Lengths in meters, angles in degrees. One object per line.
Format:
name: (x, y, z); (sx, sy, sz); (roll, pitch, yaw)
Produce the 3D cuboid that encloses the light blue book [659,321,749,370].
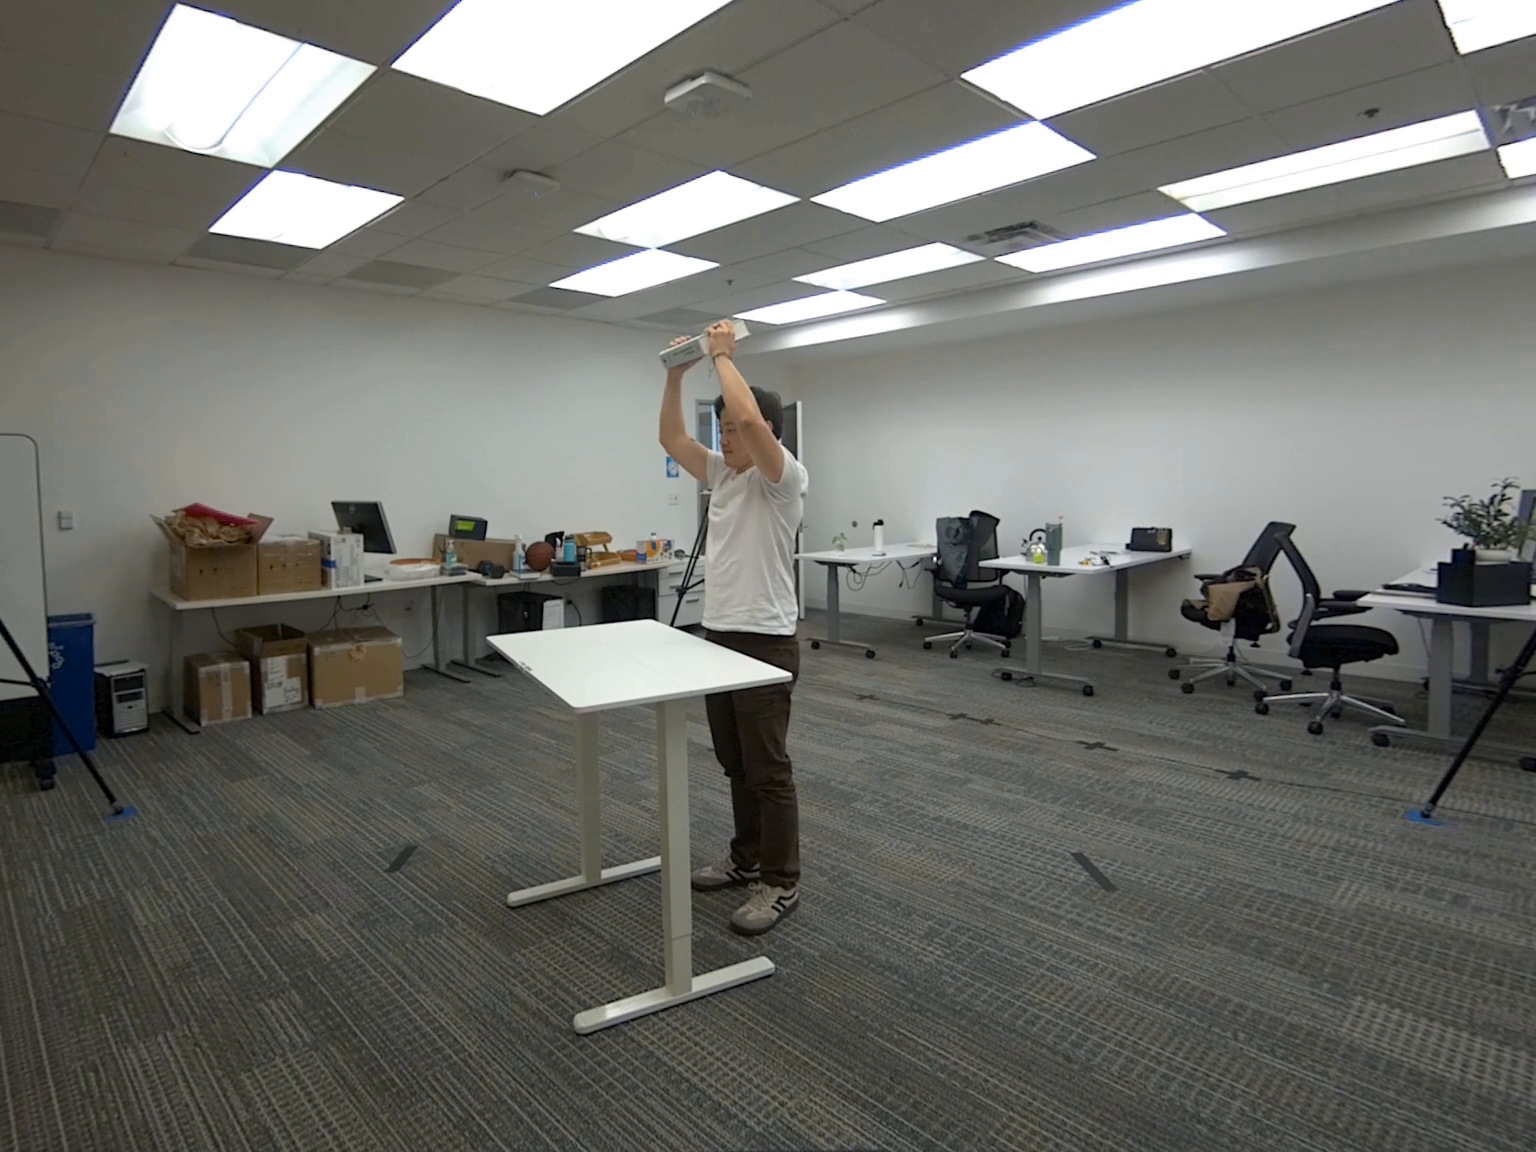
light blue book: (-0.202, -0.738, 2.722); (0.189, 0.058, 0.268); (-30, 17, -28)
